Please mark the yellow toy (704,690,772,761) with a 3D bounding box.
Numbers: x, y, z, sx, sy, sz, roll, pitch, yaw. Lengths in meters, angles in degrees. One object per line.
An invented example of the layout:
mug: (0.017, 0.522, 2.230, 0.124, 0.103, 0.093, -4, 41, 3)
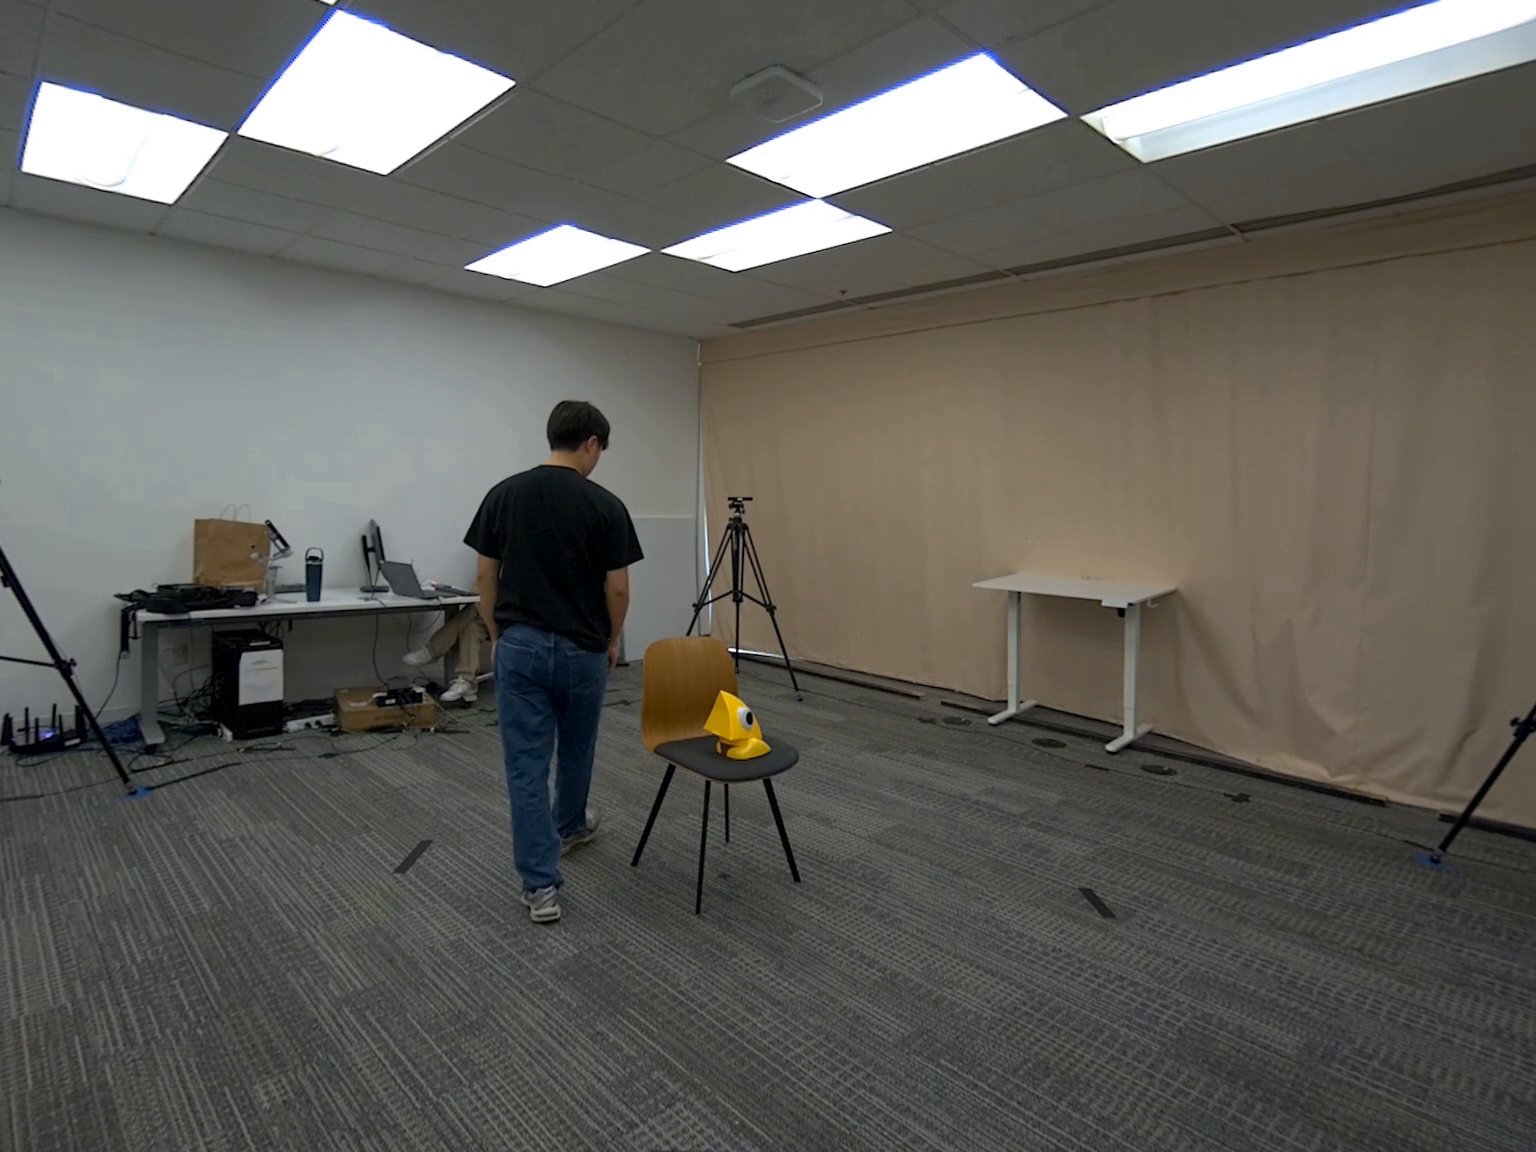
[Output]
yellow toy: (-0.122, 0.521, 3.037, 0.189, 0.230, 0.209, -6, 4, -30)
